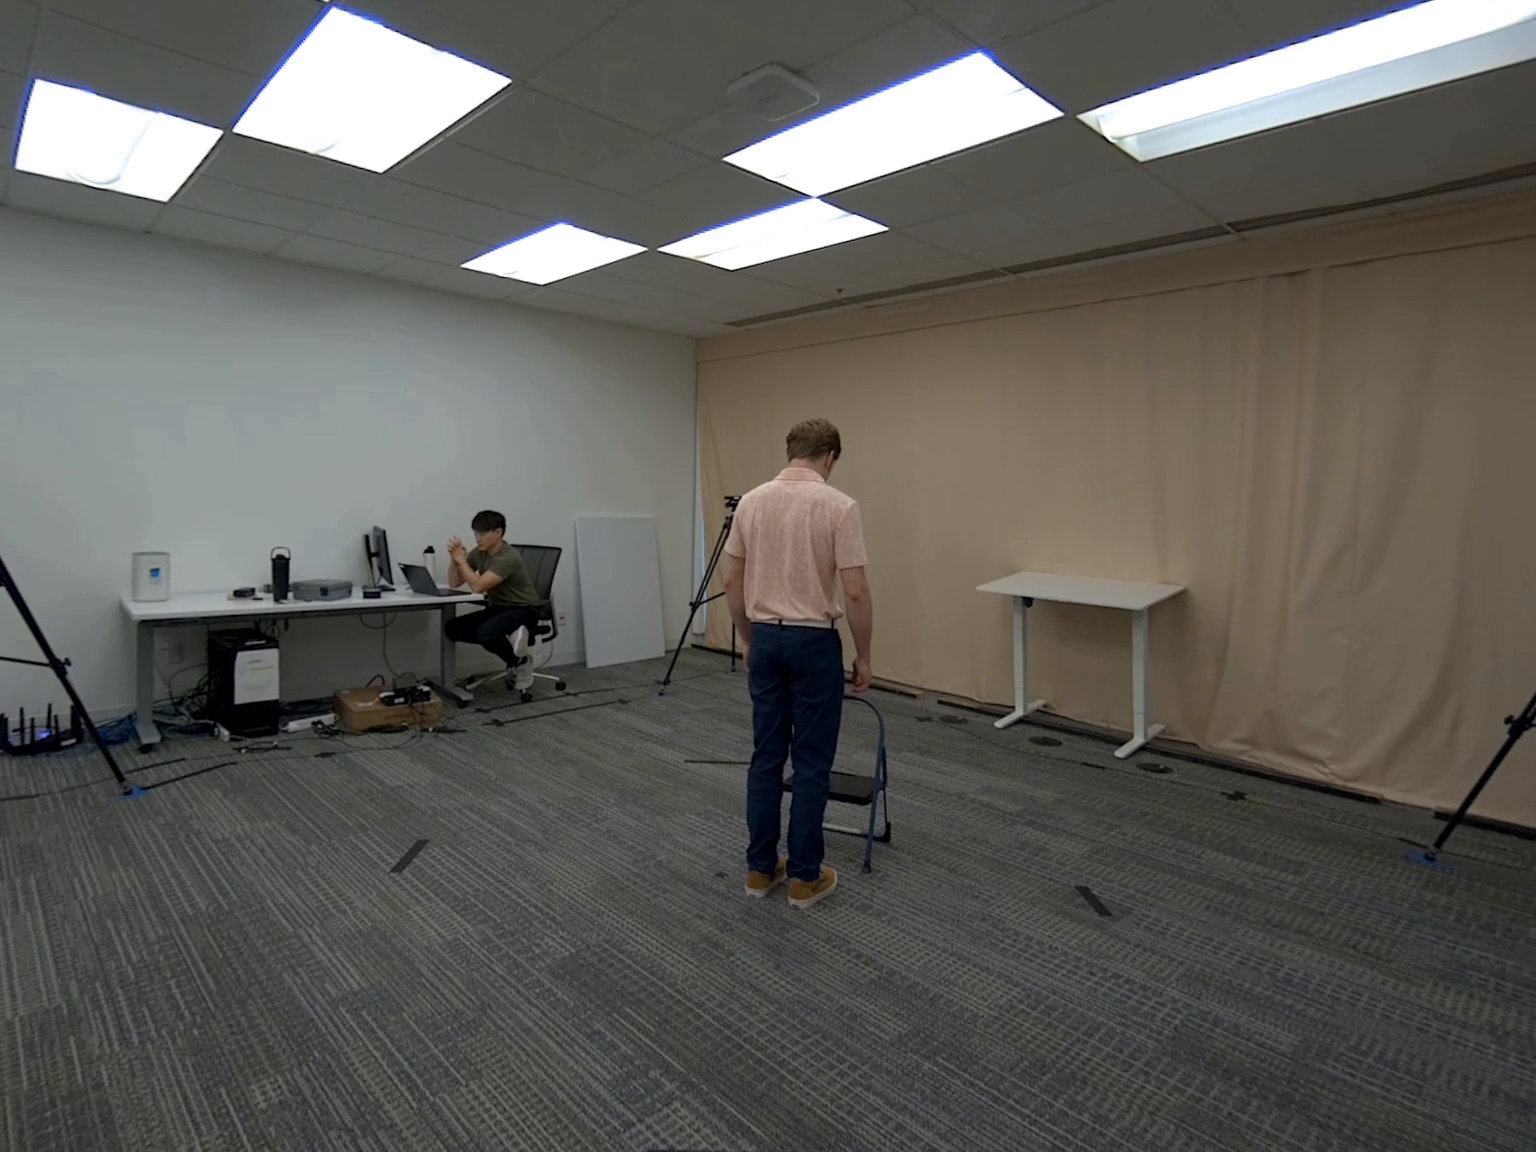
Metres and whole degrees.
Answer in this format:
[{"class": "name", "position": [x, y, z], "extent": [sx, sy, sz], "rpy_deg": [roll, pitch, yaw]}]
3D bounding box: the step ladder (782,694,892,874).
[{"class": "step ladder", "position": [0.254, 0.786, 3.380], "extent": [0.439, 0.605, 0.343], "rpy_deg": [3, 3, 24]}]
